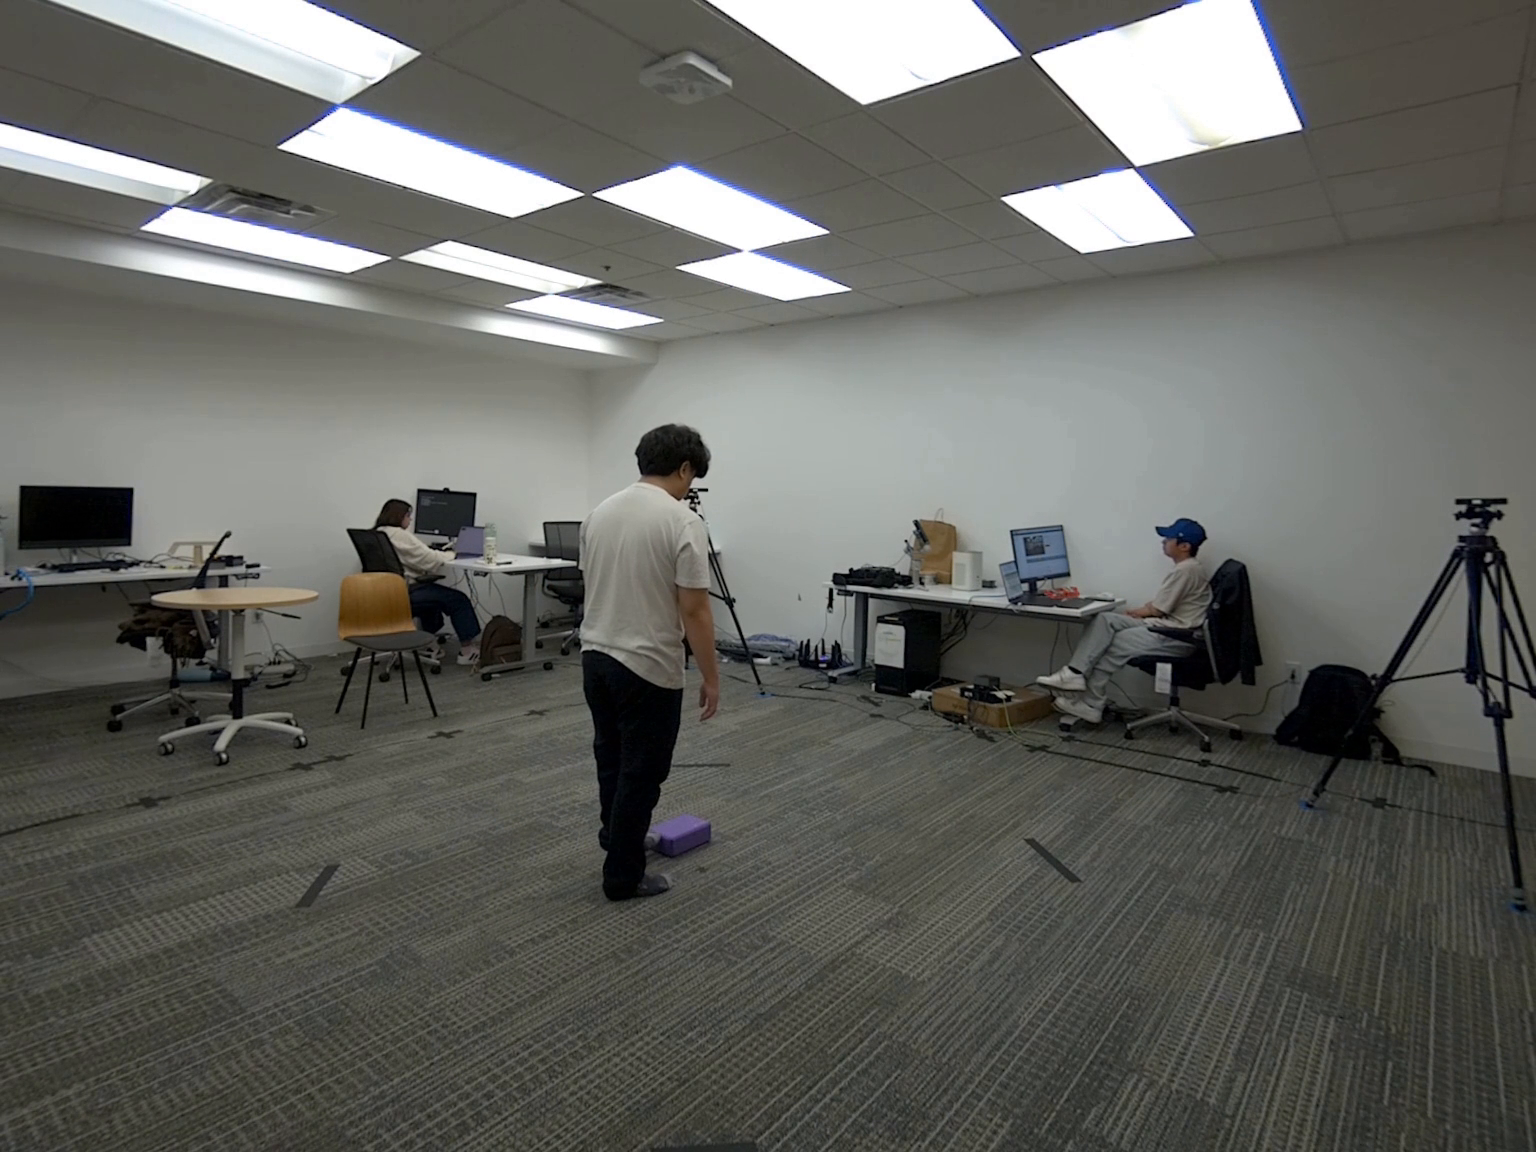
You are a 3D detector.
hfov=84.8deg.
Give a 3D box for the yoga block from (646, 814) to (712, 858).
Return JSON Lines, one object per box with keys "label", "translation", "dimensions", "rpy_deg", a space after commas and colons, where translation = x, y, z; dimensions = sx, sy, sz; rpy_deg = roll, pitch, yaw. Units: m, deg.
{"label": "yoga block", "translation": [-0.356, 1.006, 3.324], "dimensions": [0.154, 0.076, 0.223], "rpy_deg": [3, 6, 39]}
